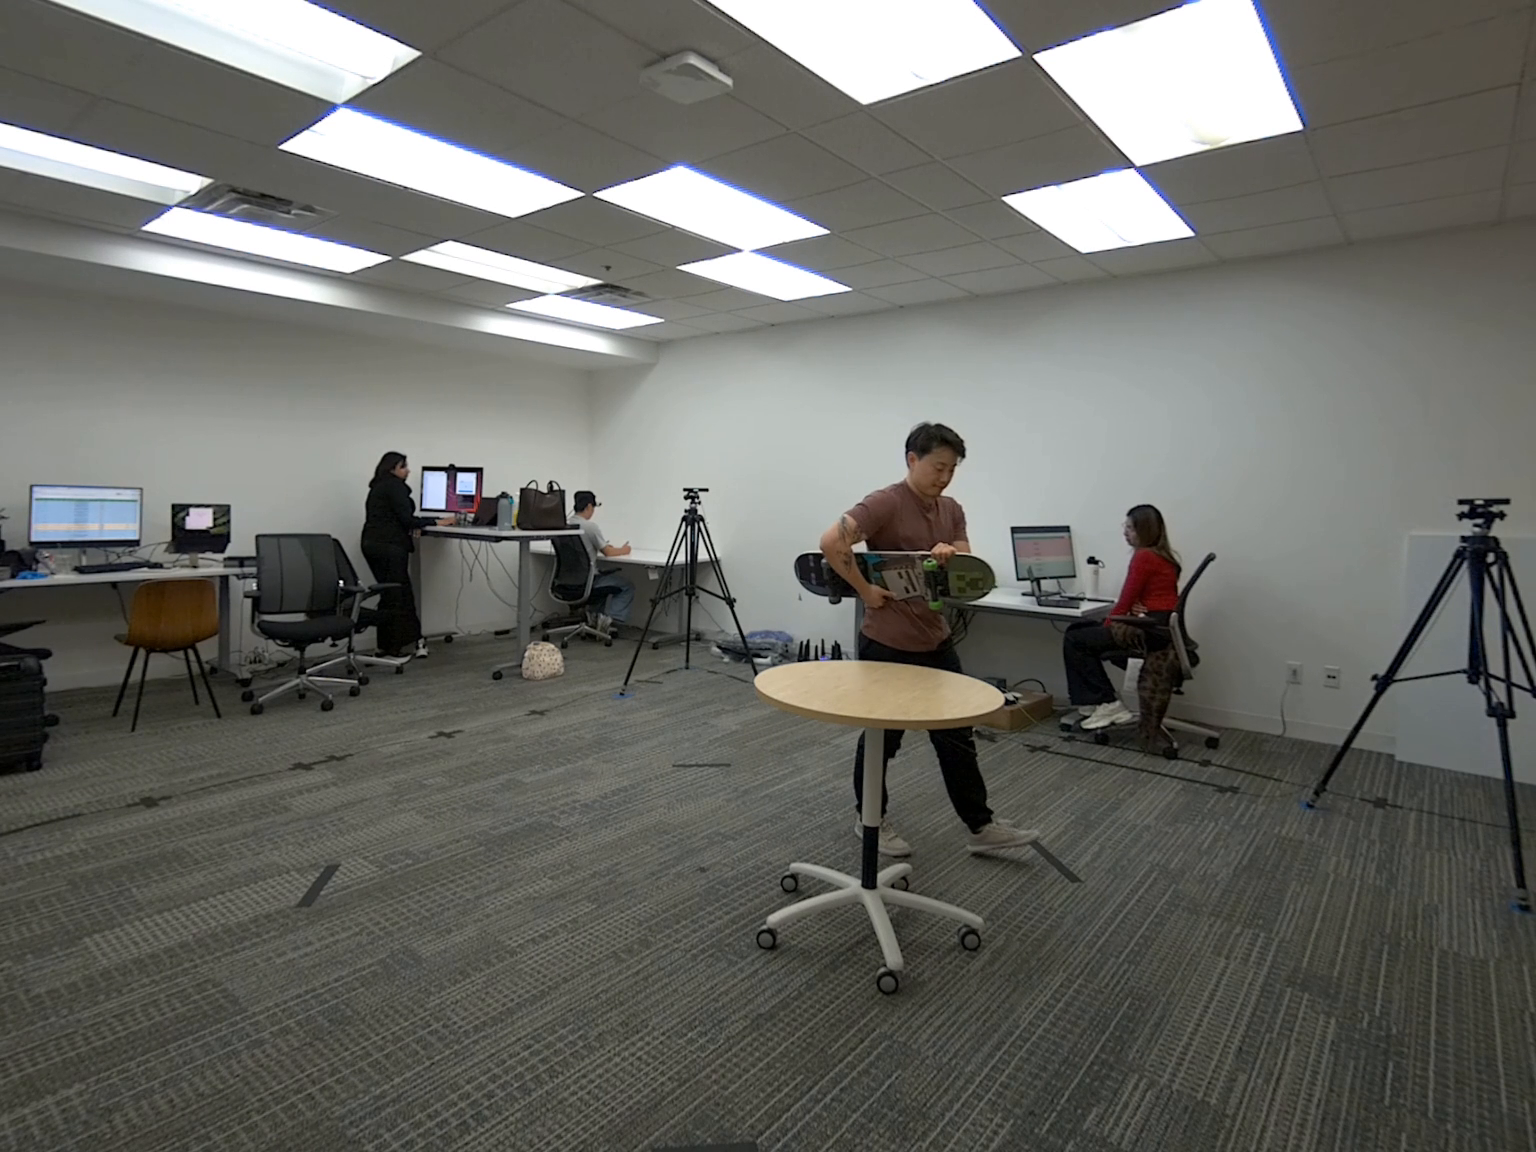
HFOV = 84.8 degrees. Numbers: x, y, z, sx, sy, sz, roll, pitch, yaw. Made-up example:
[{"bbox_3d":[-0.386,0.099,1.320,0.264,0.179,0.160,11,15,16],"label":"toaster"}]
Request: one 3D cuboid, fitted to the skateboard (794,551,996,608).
[{"bbox_3d":[0.425,0.008,3.138,0.809,0.190,0.109,2,22,33],"label":"skateboard"}]
